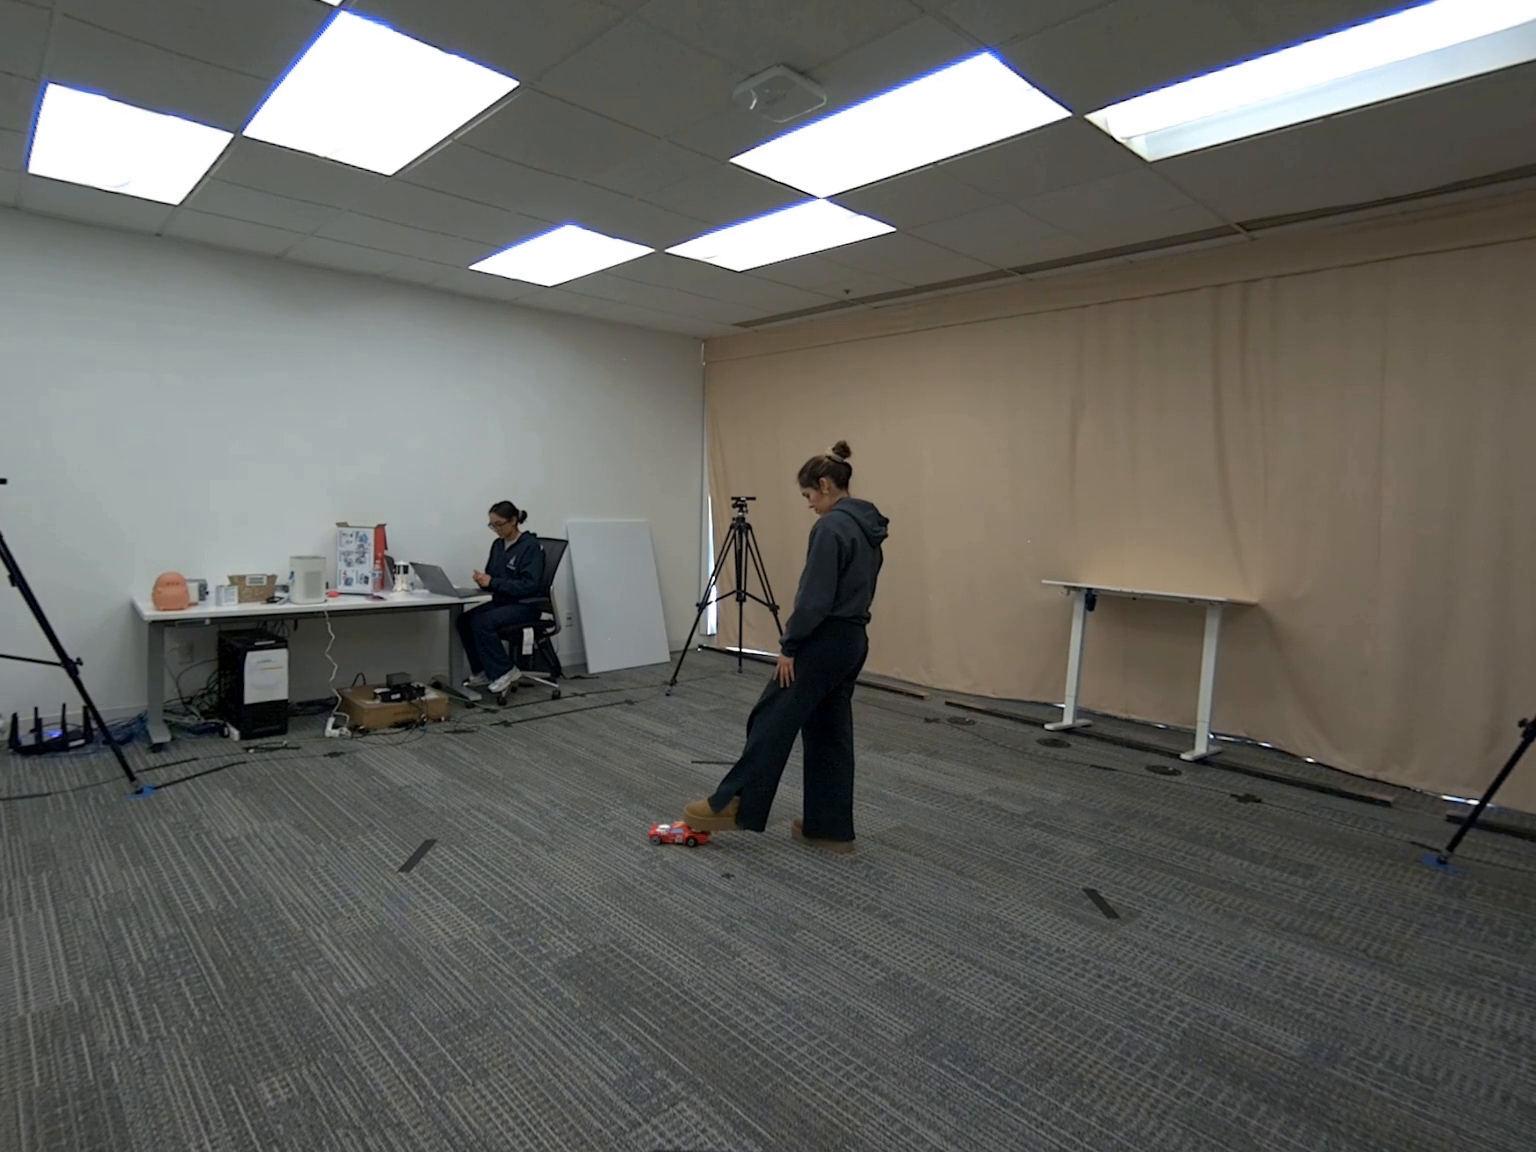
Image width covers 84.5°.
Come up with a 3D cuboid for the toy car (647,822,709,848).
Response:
[{"bbox_3d":[-0.357,1.037,3.423,0.255,0.083,0.130,-8,5,6],"label":"toy car"}]
